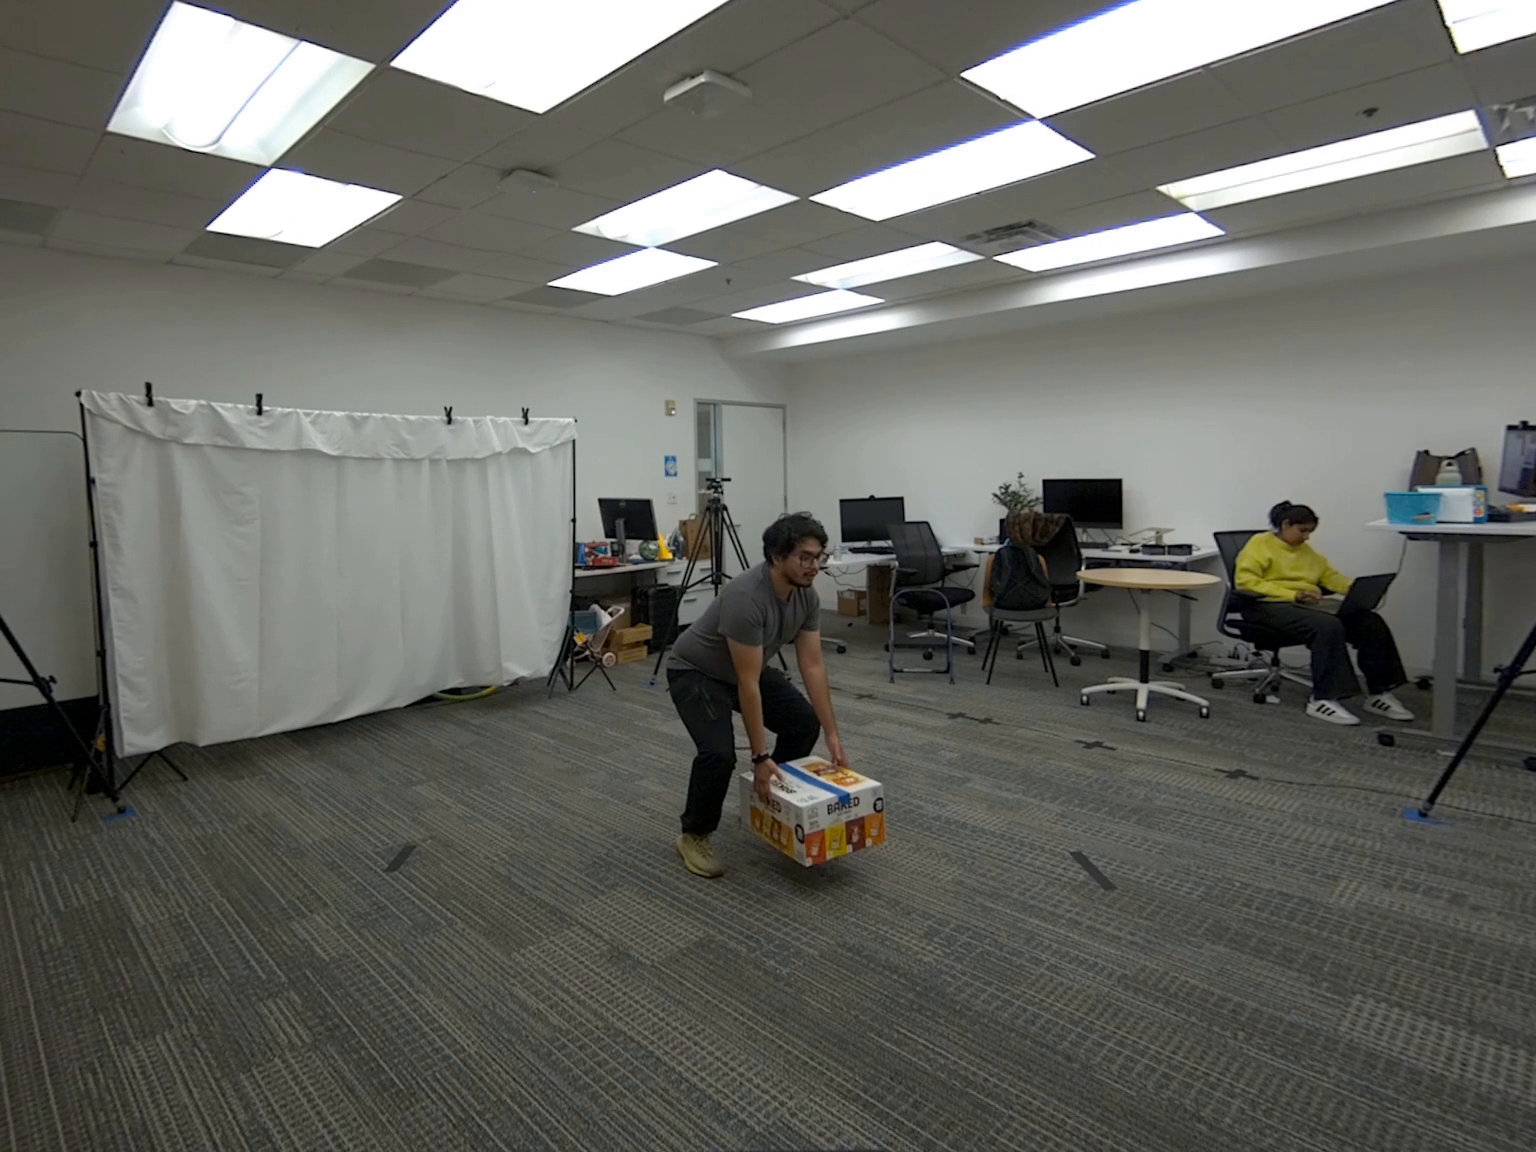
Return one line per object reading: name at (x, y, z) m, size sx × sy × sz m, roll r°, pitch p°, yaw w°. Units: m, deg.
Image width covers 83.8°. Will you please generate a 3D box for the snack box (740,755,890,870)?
snack box at (0.158, 0.819, 3.039) m, size 0.333 × 0.205 × 0.416 m, roll -7°, pitch 6°, yaw -31°
